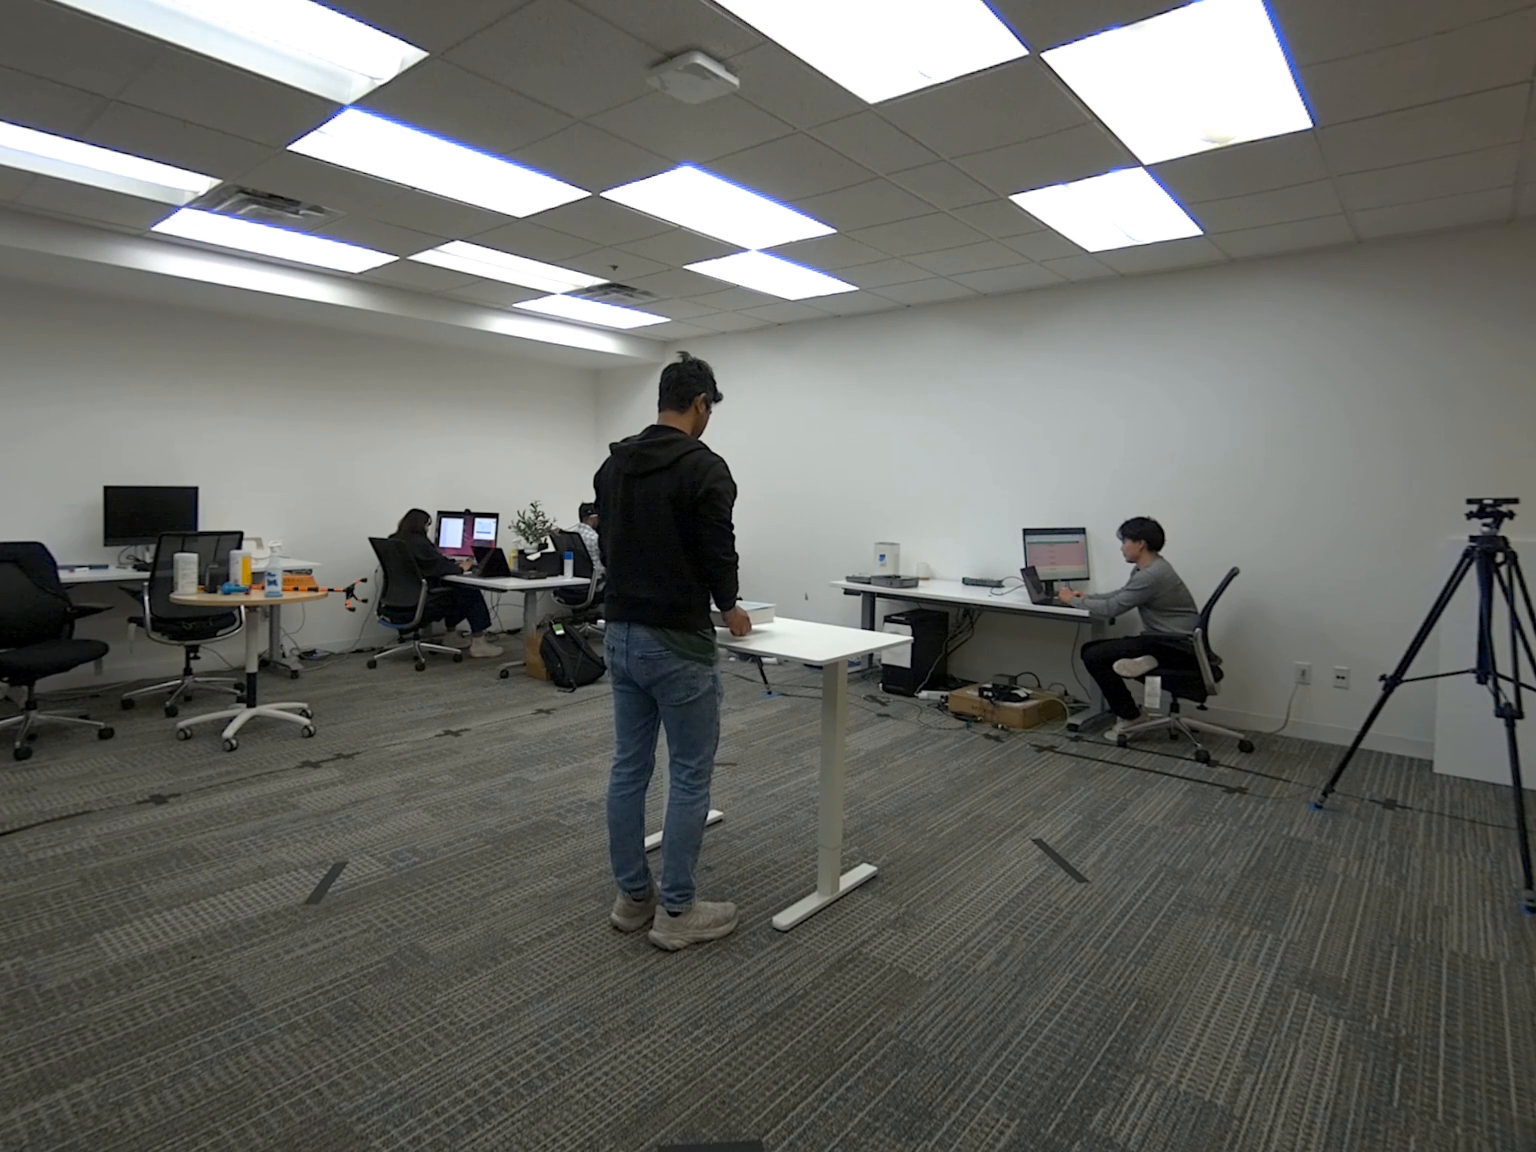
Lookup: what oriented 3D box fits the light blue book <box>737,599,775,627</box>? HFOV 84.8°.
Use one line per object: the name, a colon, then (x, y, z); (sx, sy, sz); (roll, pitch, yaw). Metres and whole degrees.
light blue book: (-0.135, 0.137, 2.999); (0.198, 0.059, 0.253); (8, 10, 42)
